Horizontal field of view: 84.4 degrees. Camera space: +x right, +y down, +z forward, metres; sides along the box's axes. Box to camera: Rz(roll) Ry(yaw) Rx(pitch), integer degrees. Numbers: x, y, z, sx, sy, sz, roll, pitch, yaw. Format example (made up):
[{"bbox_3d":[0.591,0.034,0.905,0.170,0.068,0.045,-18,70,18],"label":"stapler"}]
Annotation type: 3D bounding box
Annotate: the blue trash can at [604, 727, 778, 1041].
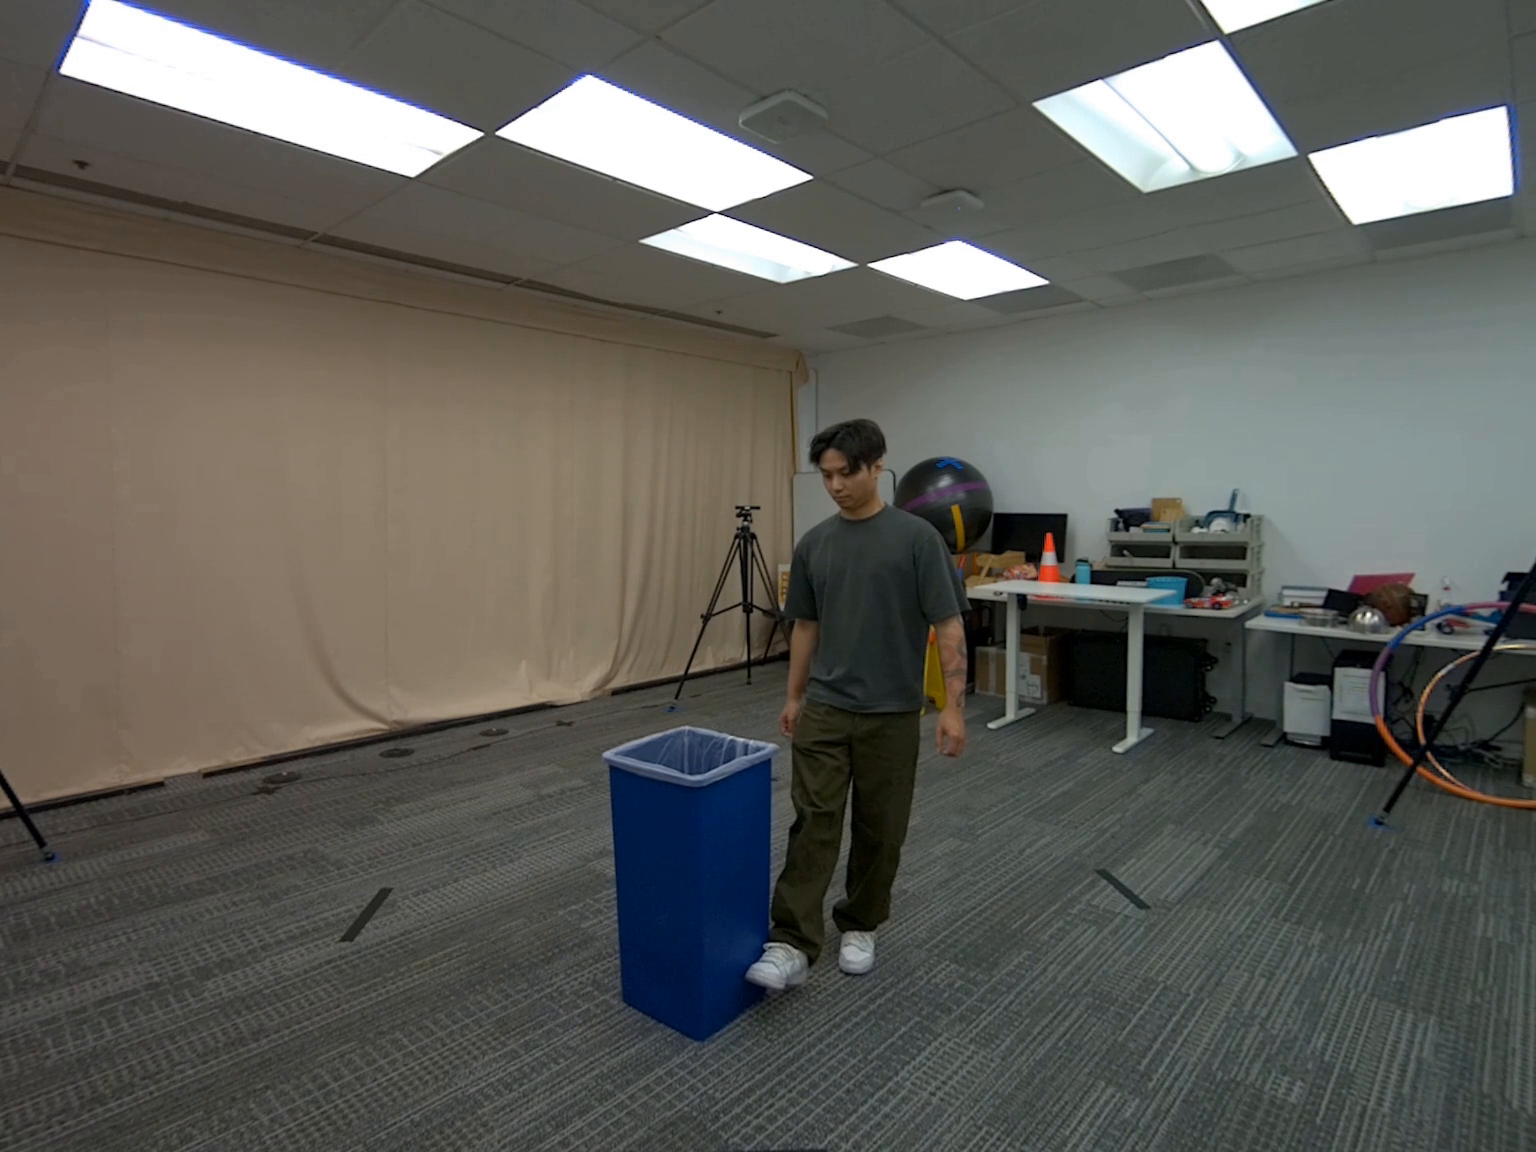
[{"bbox_3d":[-0.213,0.842,2.366,0.386,0.712,0.367,0,3,35],"label":"blue trash can"}]
